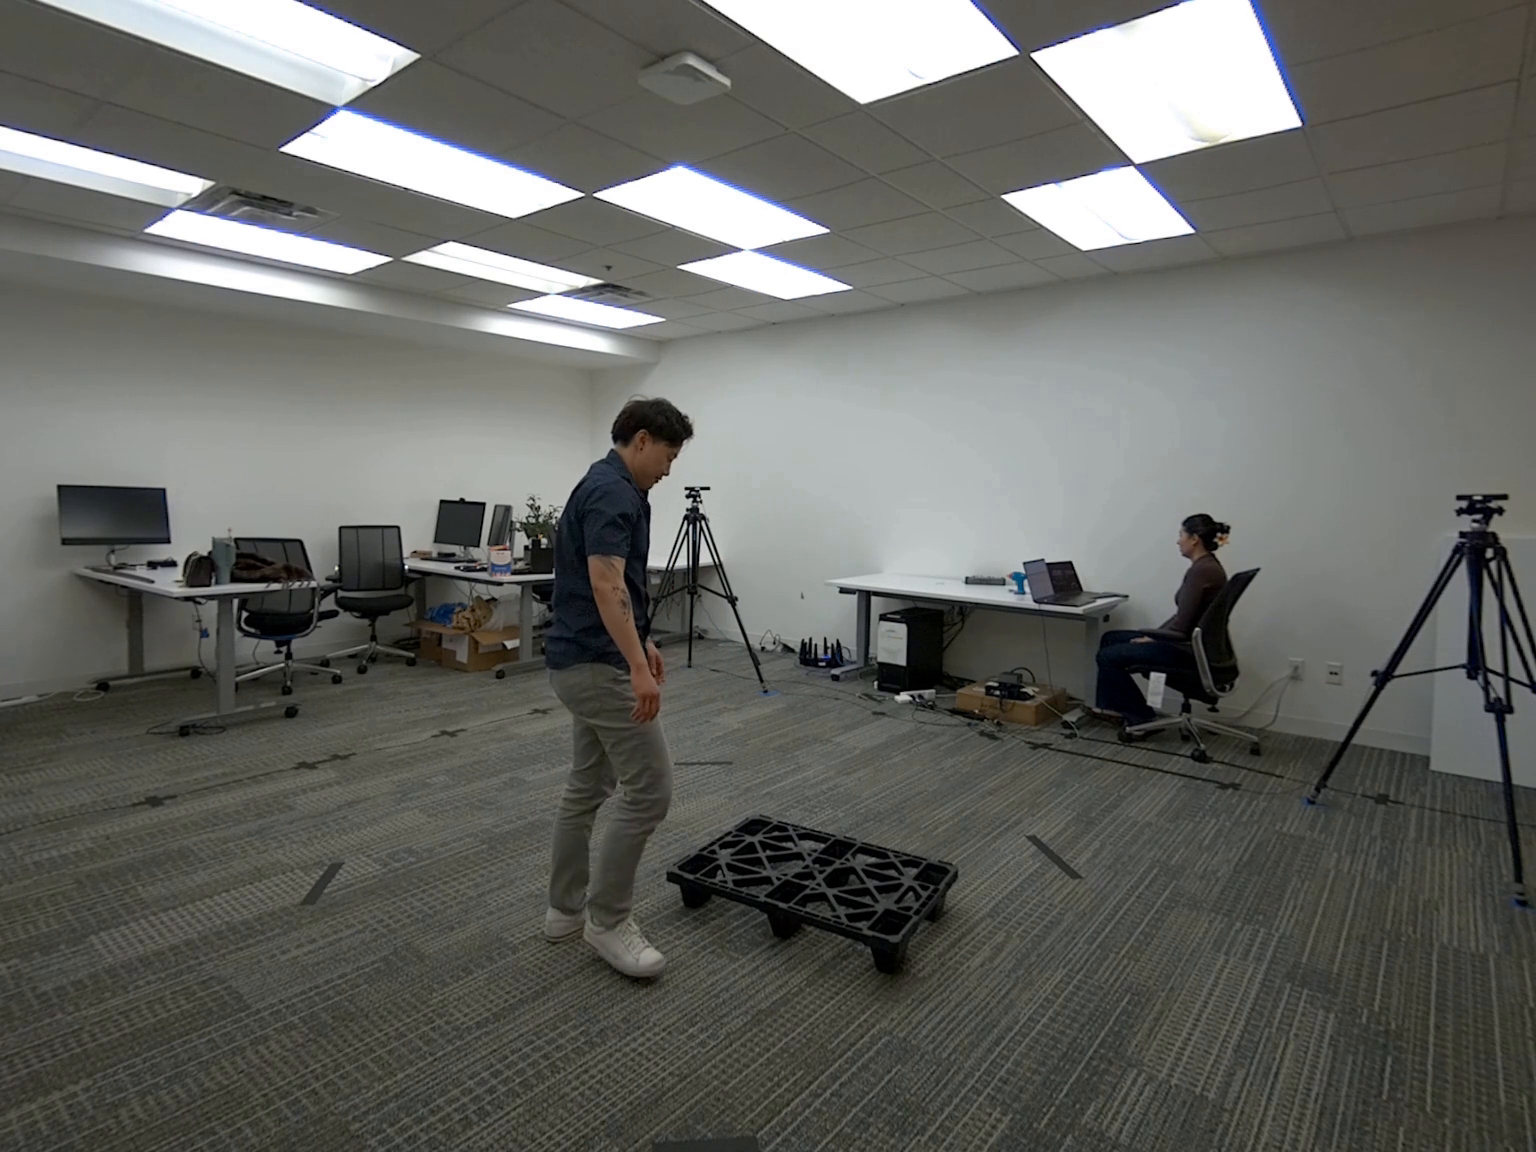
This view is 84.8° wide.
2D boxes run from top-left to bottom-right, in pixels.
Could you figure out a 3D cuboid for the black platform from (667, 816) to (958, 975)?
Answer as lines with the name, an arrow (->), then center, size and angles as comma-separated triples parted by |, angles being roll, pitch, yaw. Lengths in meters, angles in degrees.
black platform -> 0.146, 1.032, 2.824 | 0.830, 0.143, 0.590 | 4, 7, 30
